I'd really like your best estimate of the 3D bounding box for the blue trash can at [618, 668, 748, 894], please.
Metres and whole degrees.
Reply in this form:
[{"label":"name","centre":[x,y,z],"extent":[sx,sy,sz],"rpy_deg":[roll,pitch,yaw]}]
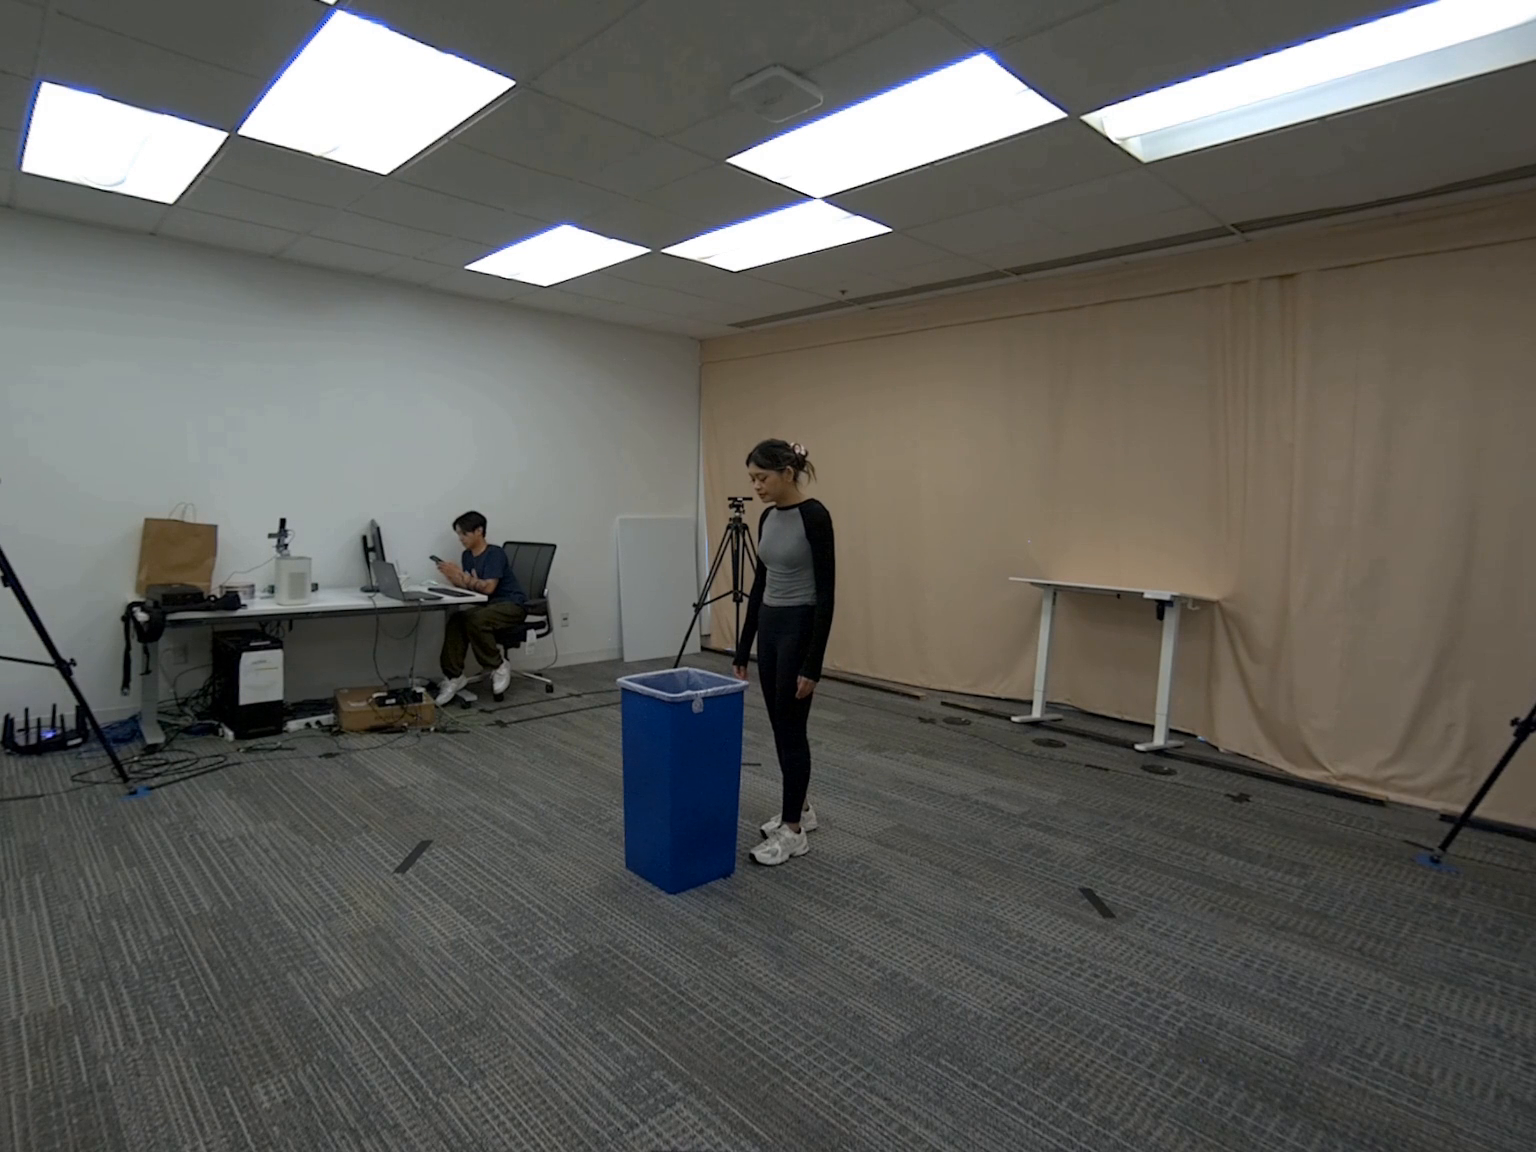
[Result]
[{"label":"blue trash can","centre":[-0.336,0.743,3.132],"extent":[0.369,0.712,0.384],"rpy_deg":[-1,5,-43]}]
